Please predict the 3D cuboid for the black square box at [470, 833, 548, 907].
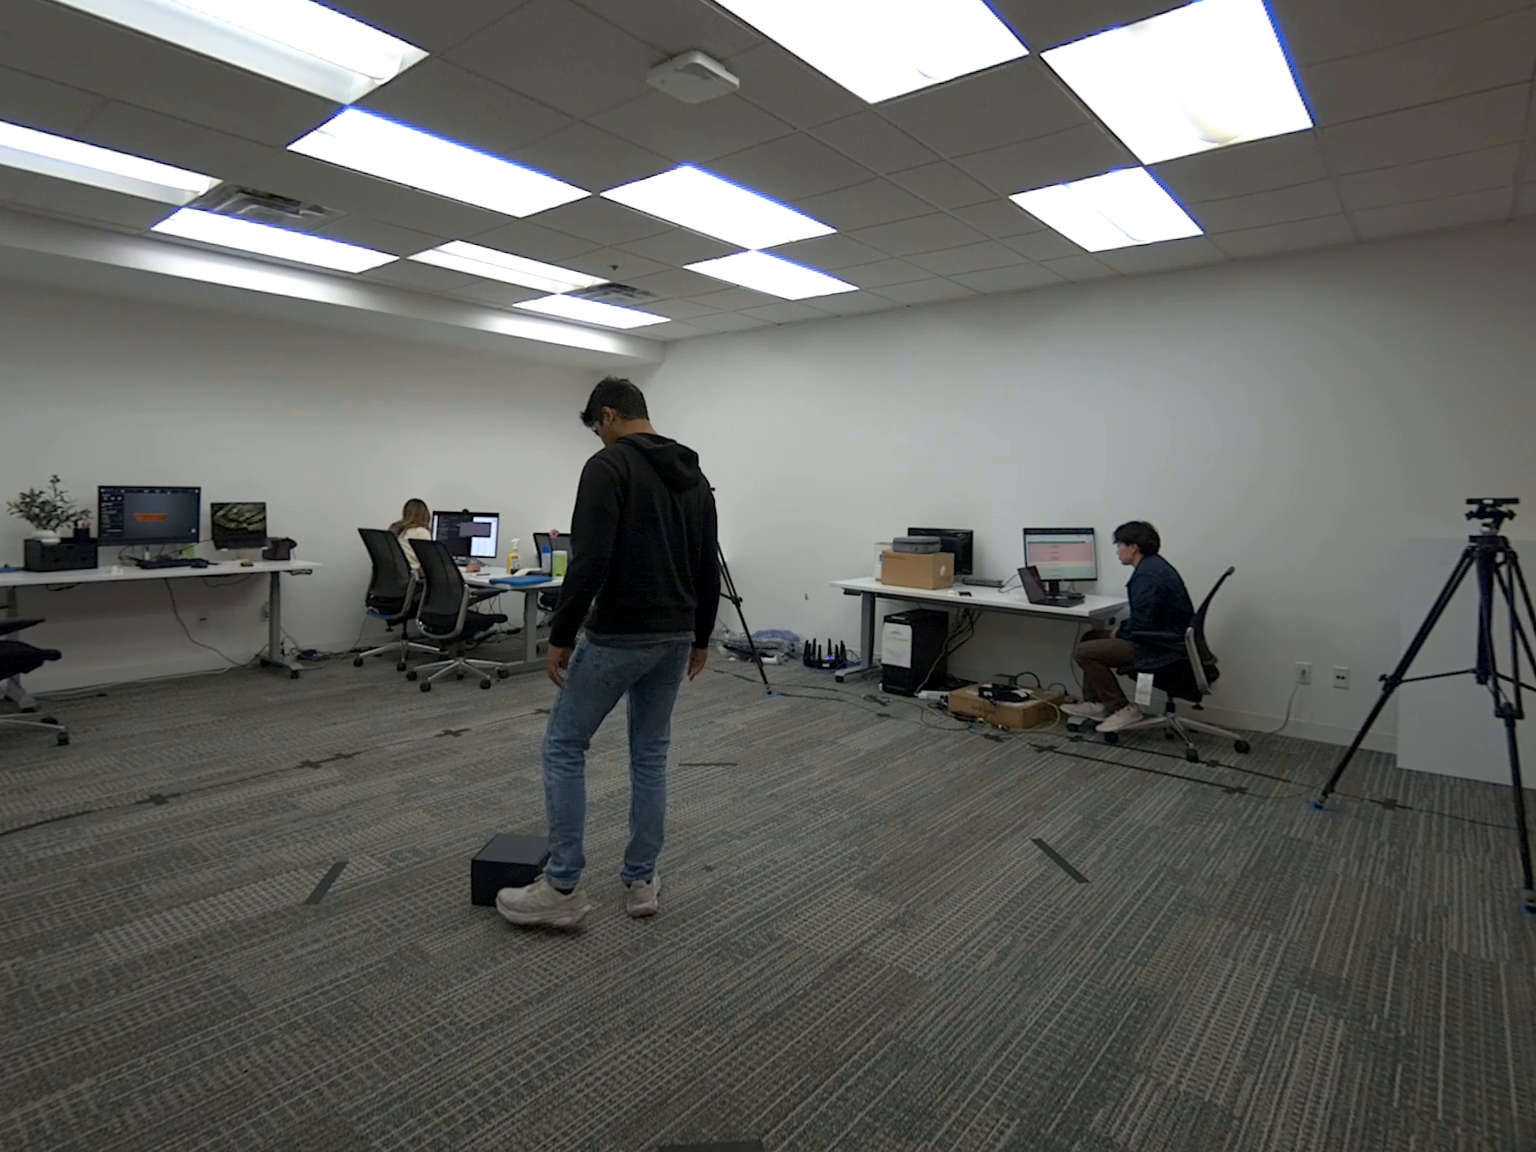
[{"bbox_3d":[-0.877,0.987,2.921,0.230,0.155,0.216,1,5,6],"label":"black square box"}]
